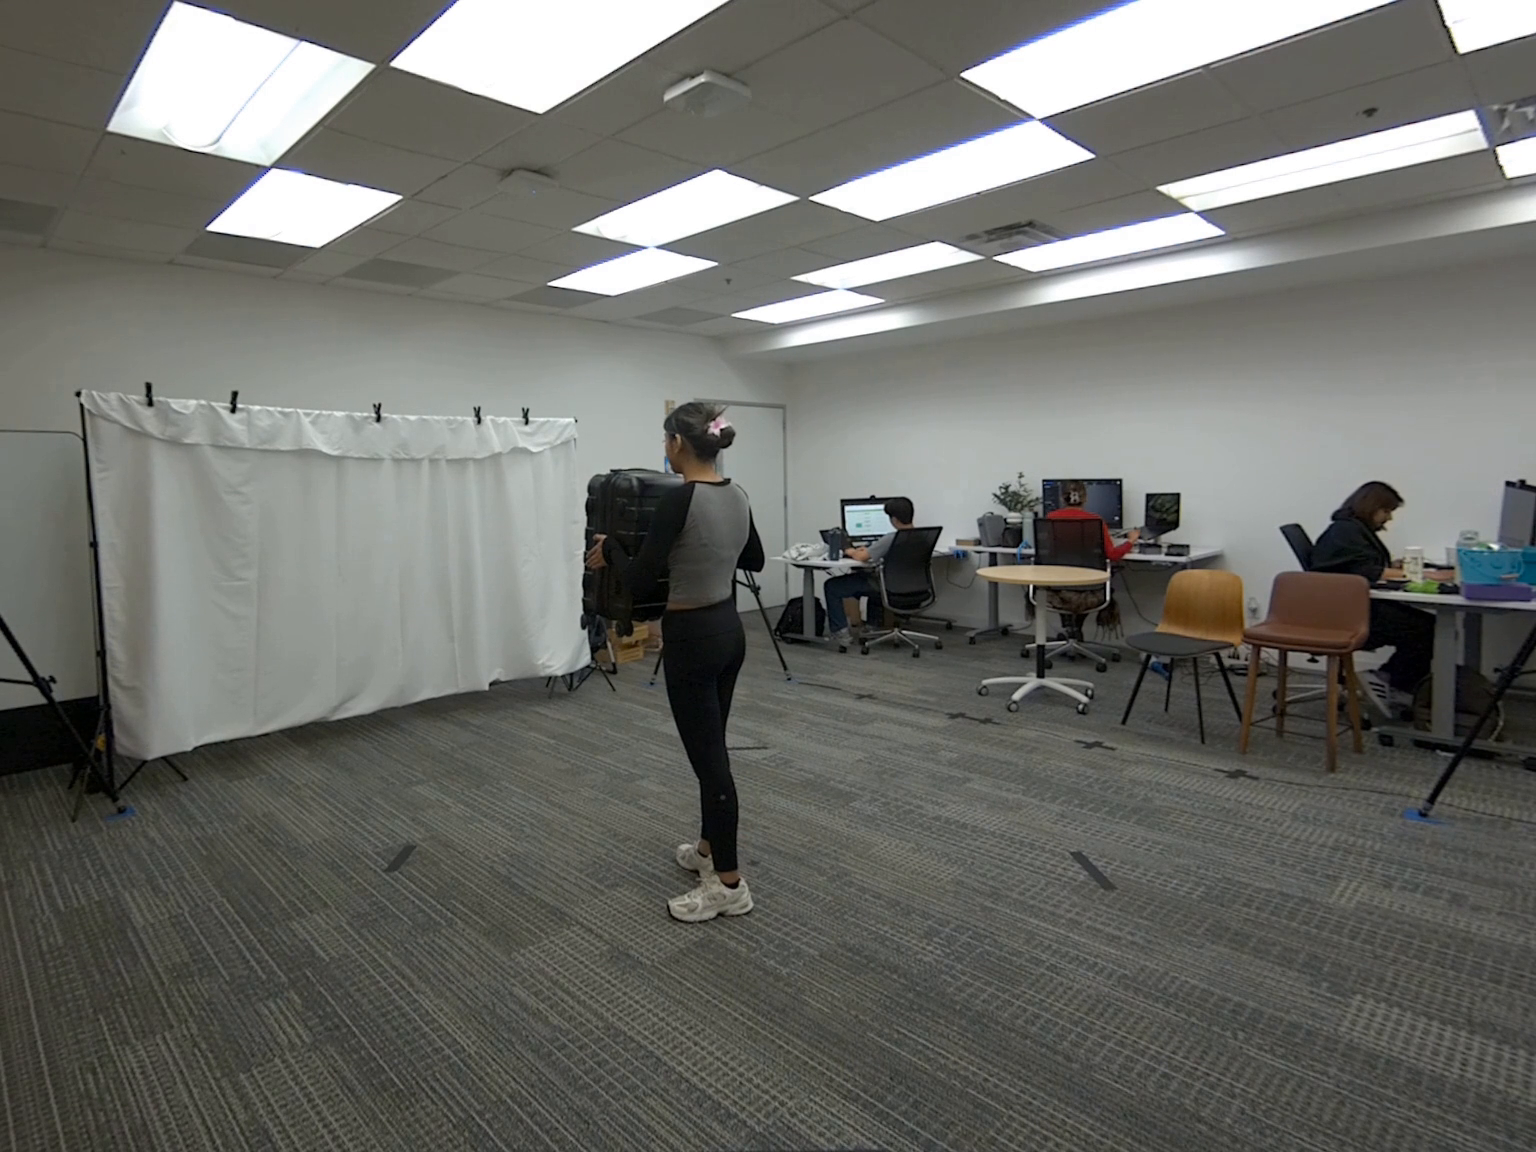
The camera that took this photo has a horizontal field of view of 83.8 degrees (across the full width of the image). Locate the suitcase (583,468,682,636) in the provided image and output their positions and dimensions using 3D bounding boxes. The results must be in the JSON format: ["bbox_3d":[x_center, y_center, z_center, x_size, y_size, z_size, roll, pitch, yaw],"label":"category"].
[{"bbox_3d":[-0.437,-0.095,2.958,0.256,0.547,0.365,6,5,38],"label":"suitcase"}]
